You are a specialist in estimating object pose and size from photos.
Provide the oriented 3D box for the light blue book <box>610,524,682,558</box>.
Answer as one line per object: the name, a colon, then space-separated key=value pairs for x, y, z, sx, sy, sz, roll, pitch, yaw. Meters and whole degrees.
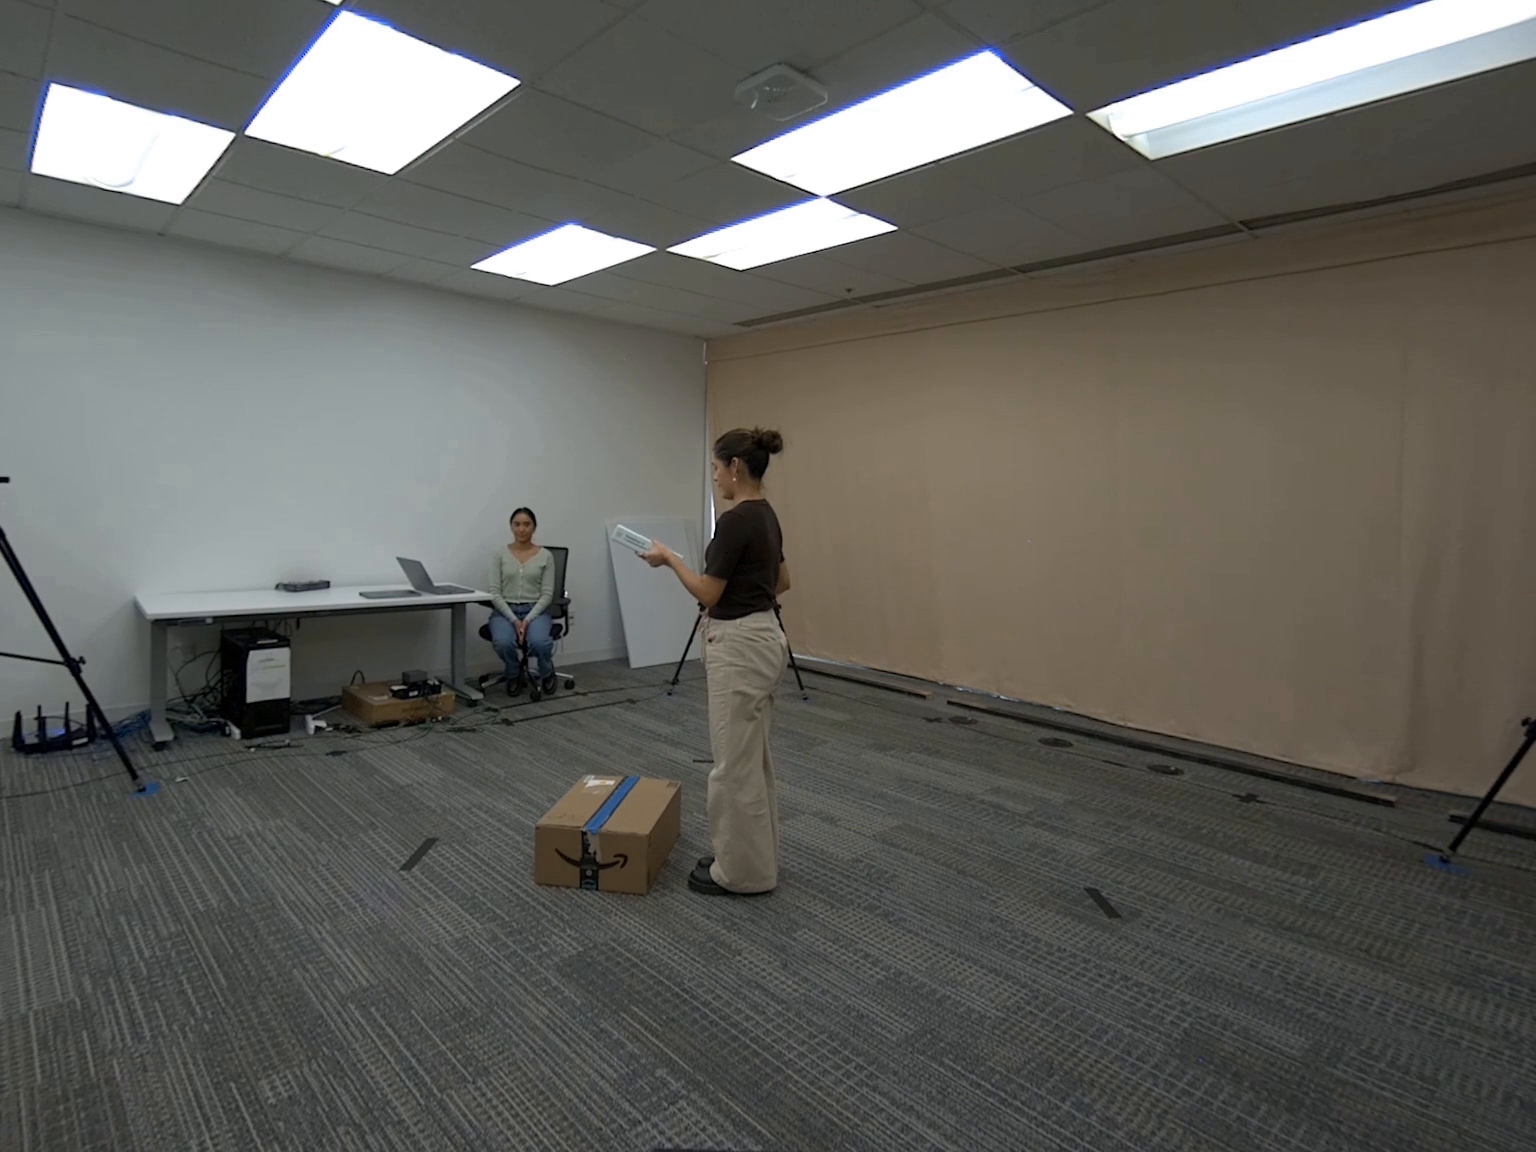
light blue book: x=-0.436 y=-0.100 z=3.080 sx=0.261 sy=0.059 sz=0.191 roll=26 pitch=0 yaw=0
